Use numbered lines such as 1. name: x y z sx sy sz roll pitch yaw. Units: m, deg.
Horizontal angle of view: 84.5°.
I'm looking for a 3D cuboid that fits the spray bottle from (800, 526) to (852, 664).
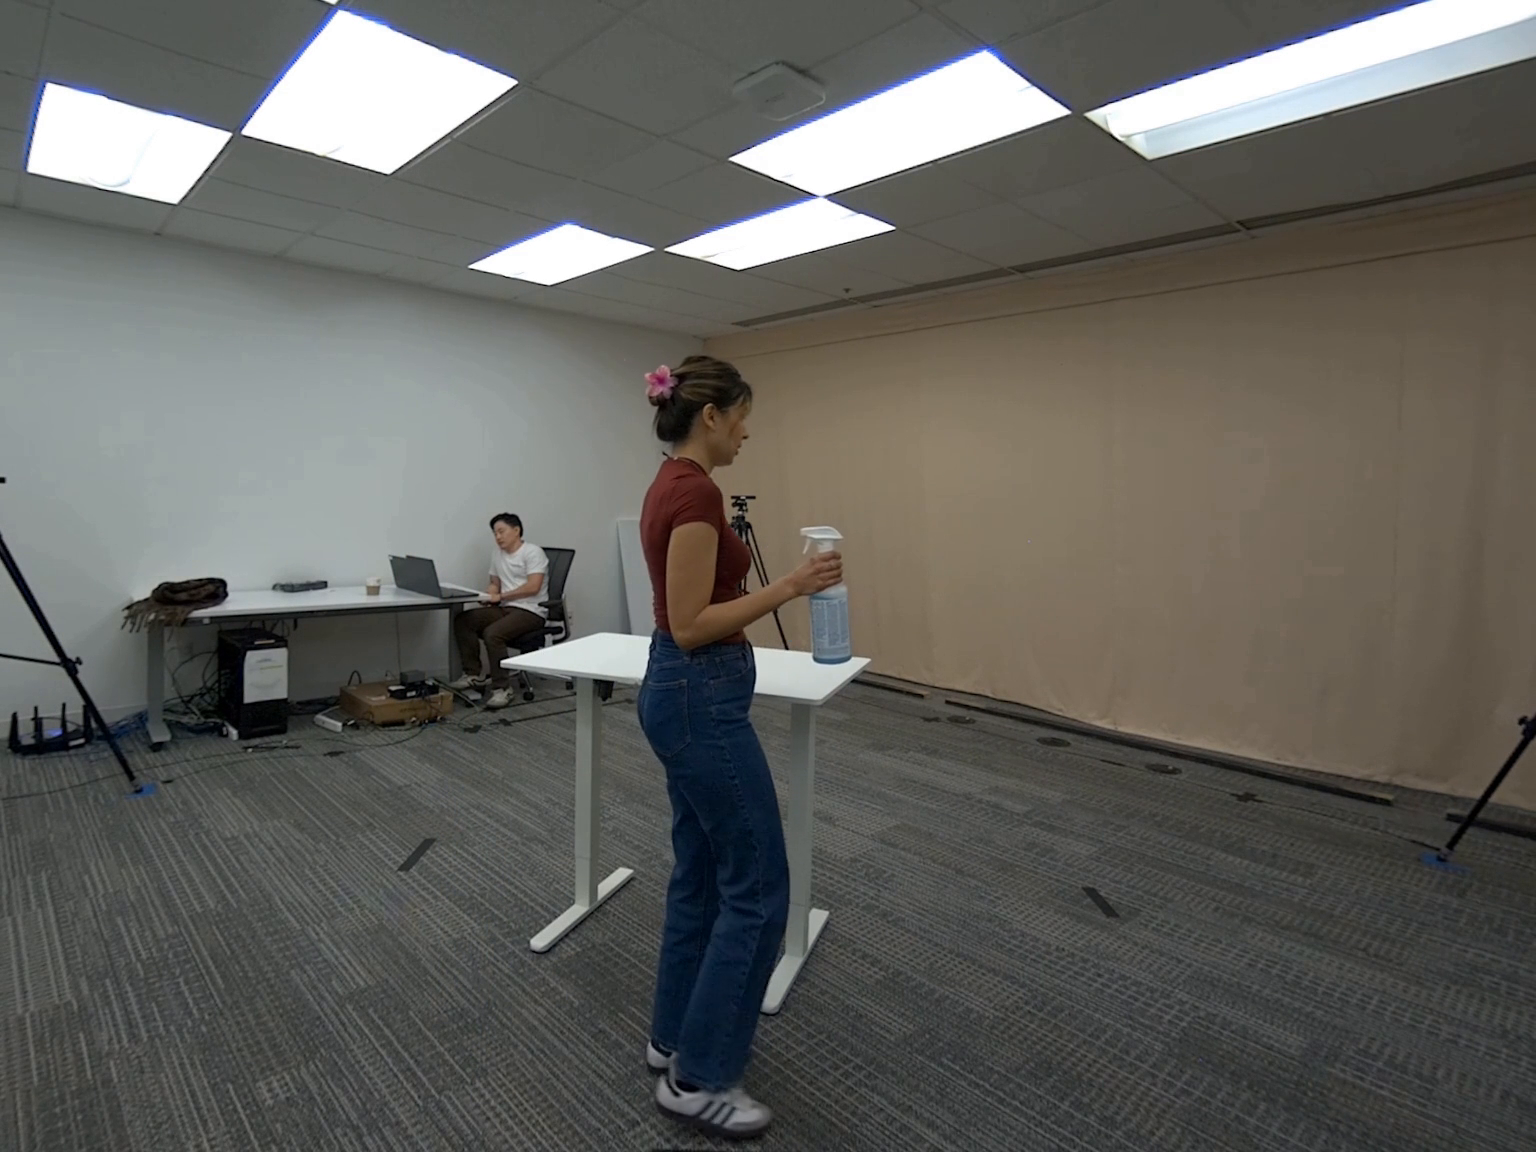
1. spray bottle: 0.126 0.043 1.797 0.091 0.296 0.086 -4 7 13
